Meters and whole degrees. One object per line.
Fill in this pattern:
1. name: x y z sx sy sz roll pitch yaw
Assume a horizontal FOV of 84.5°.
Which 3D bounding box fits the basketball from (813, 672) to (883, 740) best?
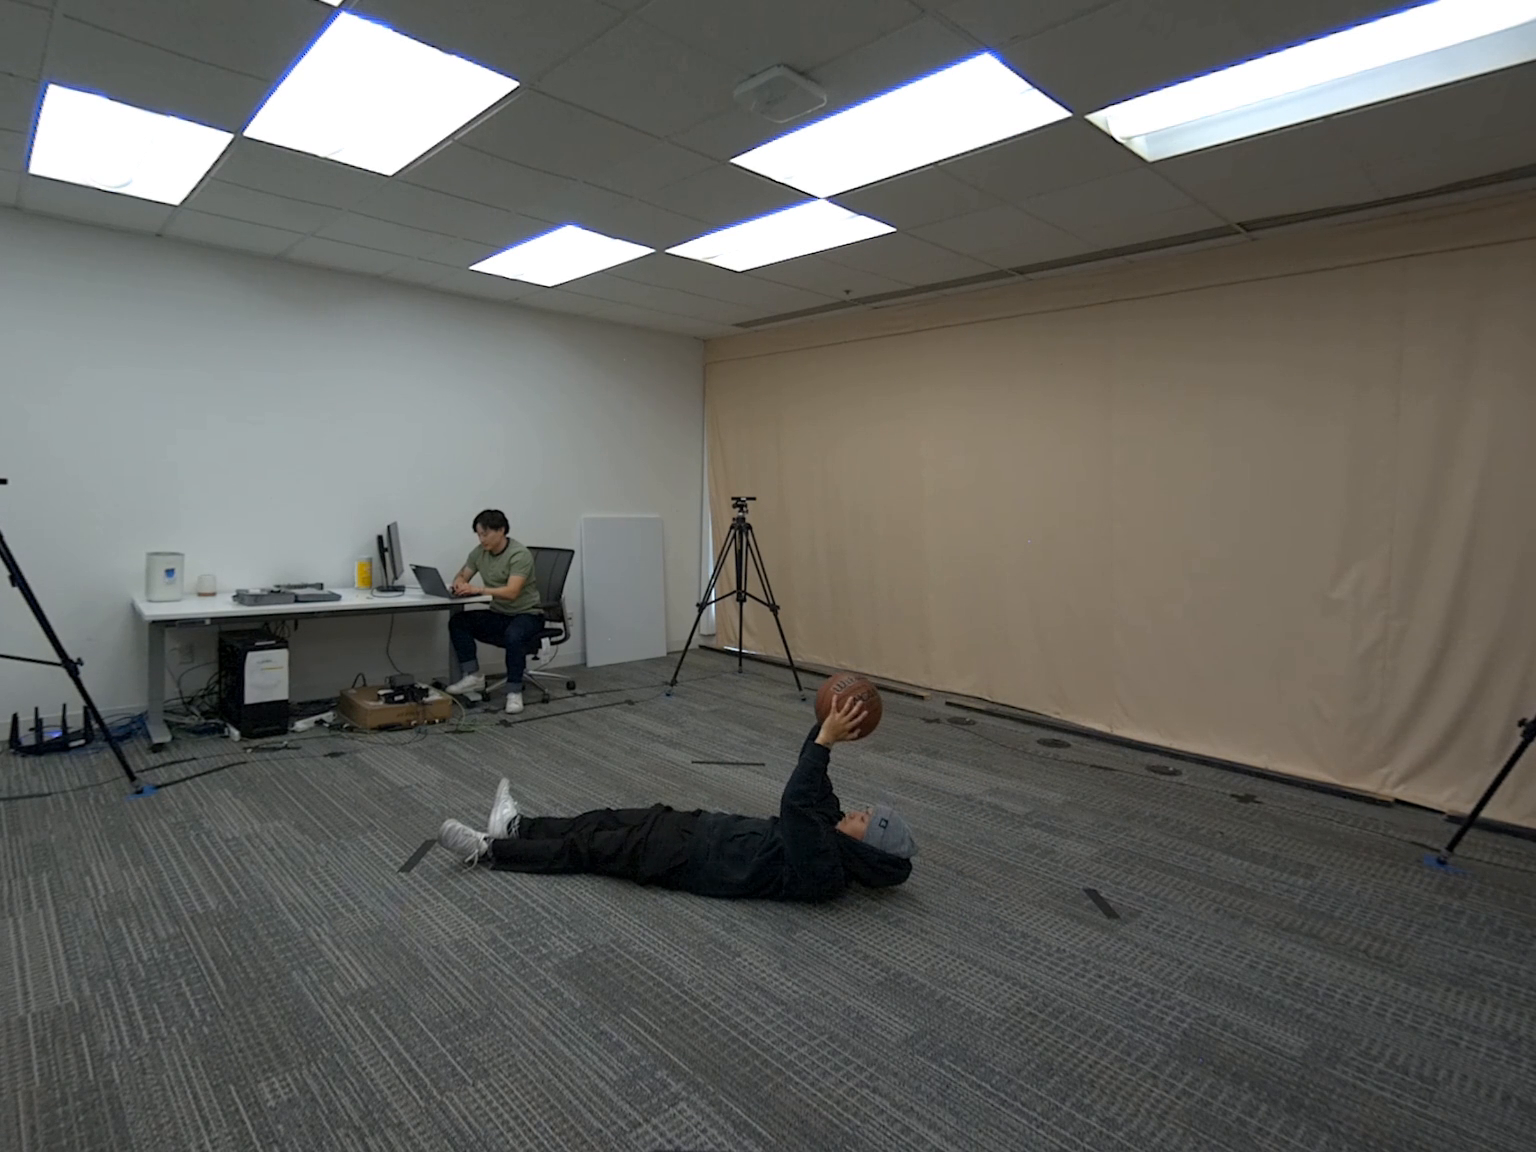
1. basketball: 0.276 0.466 2.971 0.236 0.235 0.237 1 4 -1
